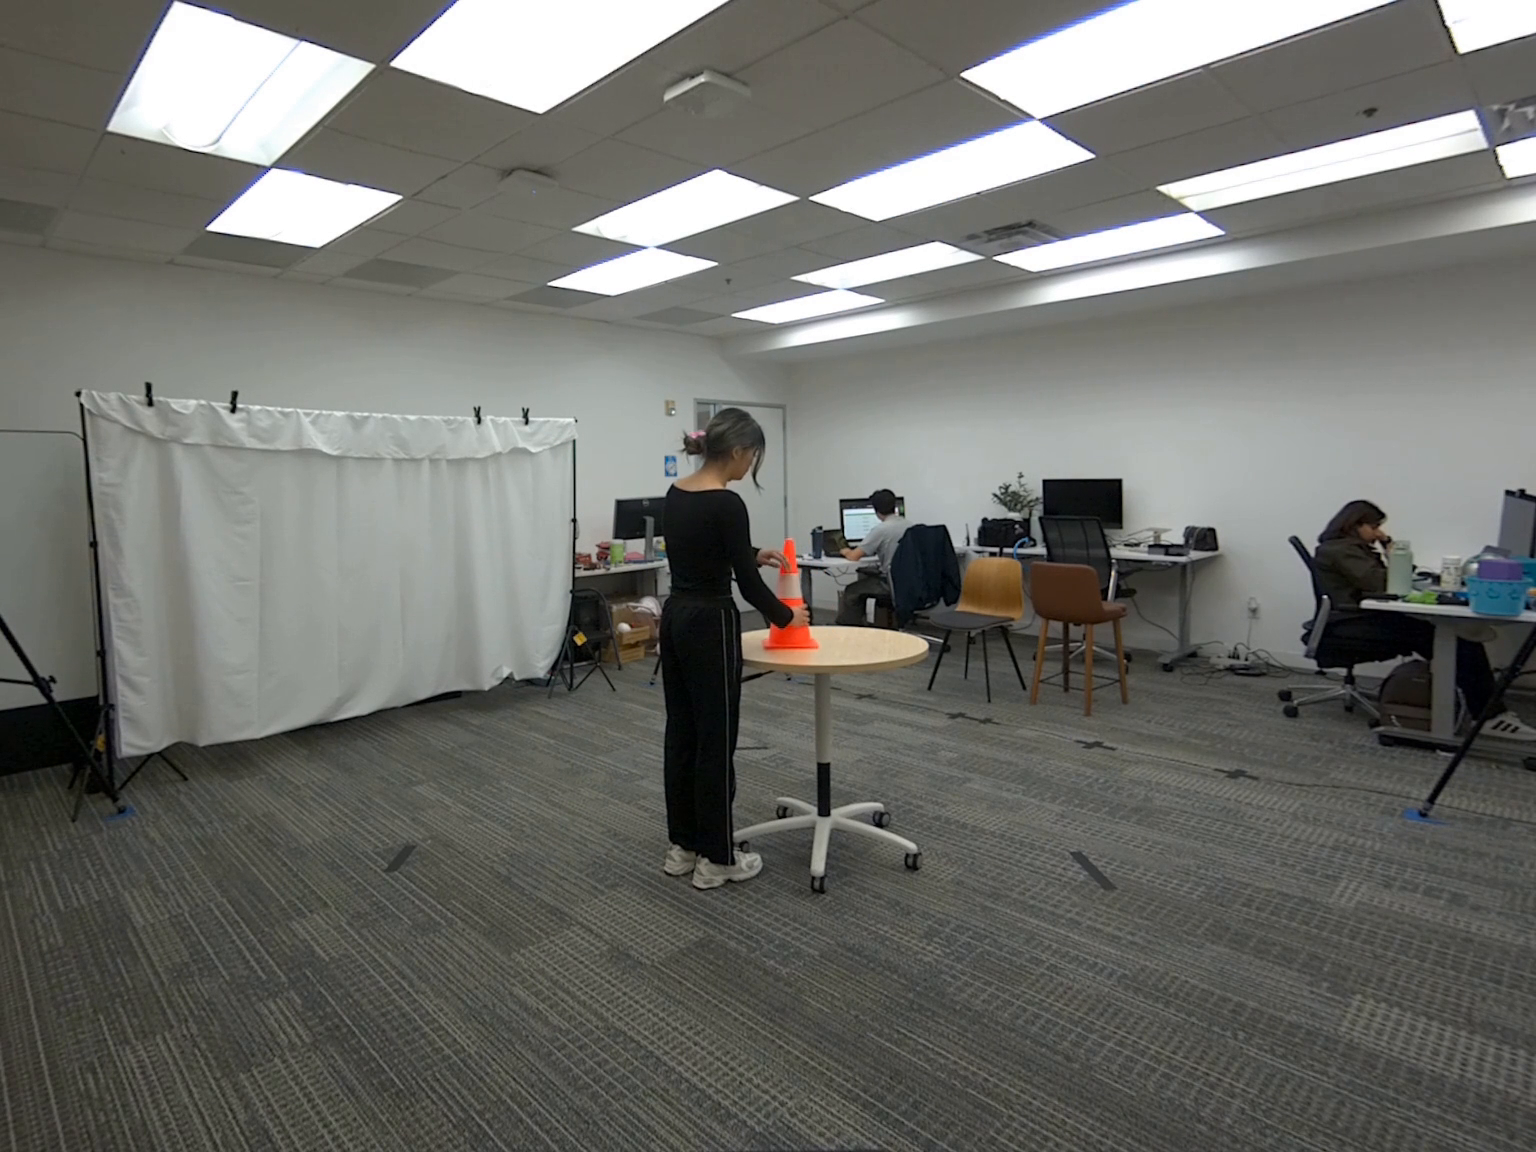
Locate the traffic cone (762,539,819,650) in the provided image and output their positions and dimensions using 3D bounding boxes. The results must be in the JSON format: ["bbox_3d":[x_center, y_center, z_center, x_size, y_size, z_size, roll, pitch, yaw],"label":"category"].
[{"bbox_3d":[0.084,0.059,3.153,0.203,0.384,0.205,0,0,-2],"label":"traffic cone"}]
